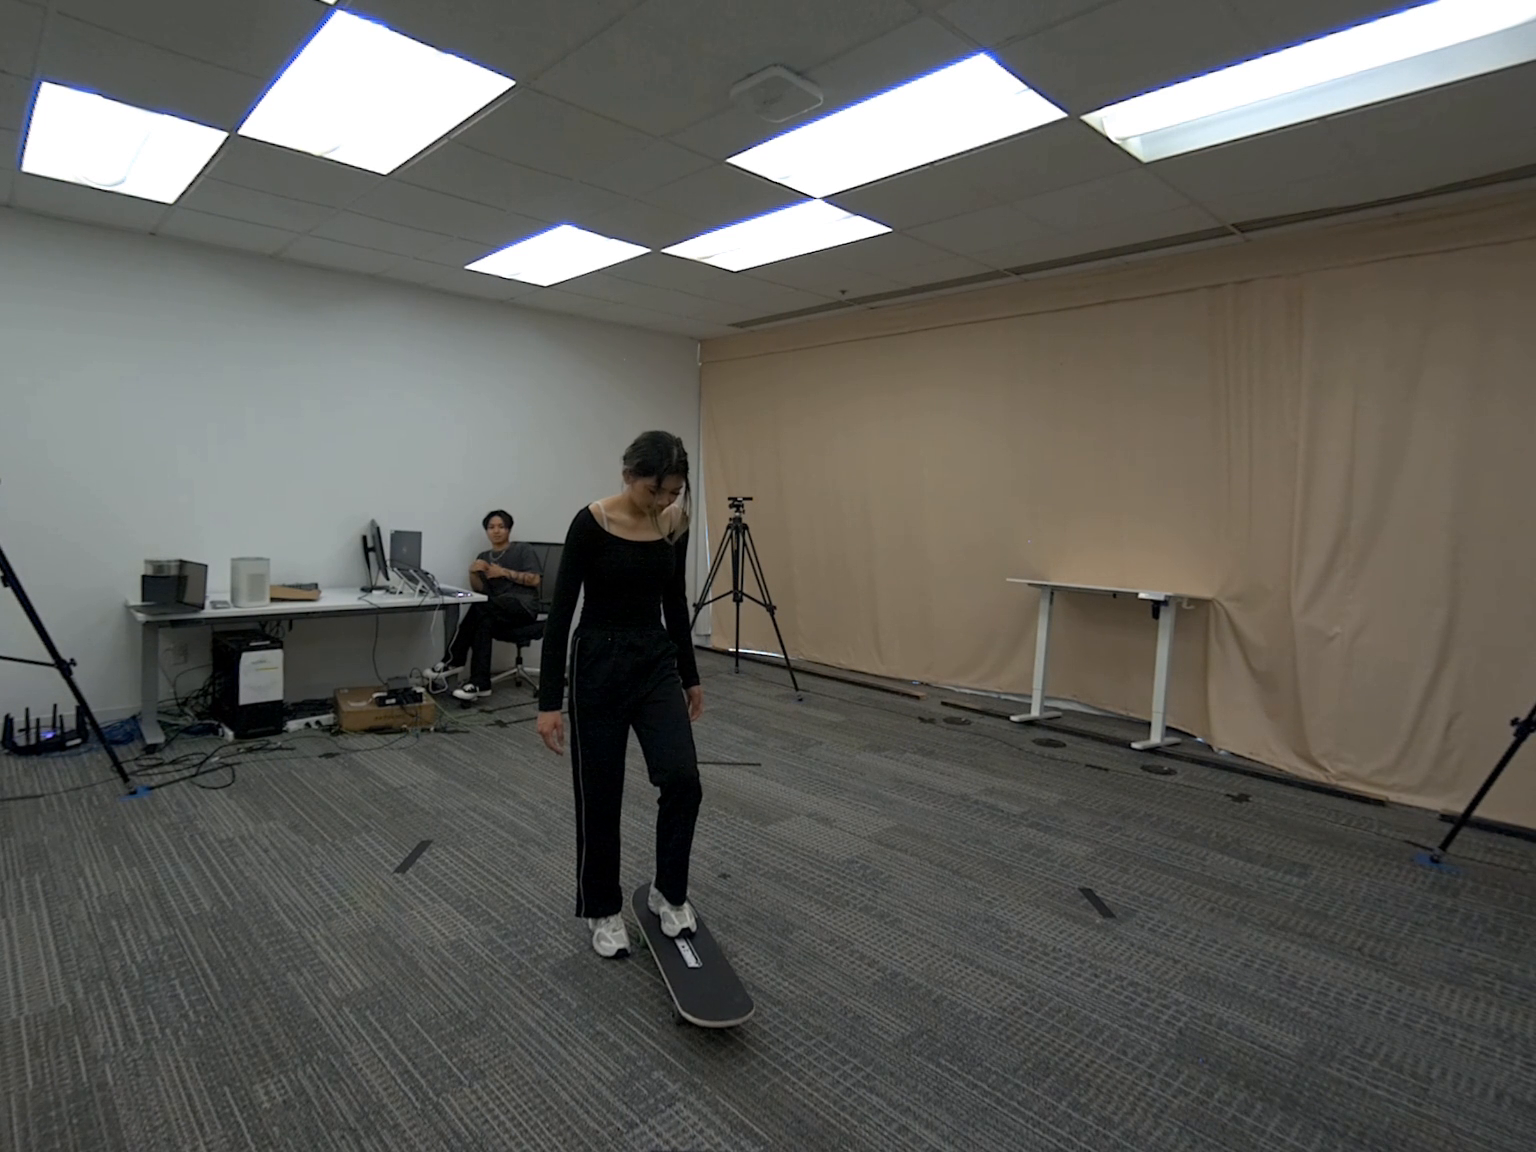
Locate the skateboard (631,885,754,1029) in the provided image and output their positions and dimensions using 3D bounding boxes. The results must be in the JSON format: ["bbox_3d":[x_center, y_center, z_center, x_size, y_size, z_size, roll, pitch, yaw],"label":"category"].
[{"bbox_3d":[-0.242,1.111,2.443,0.190,0.110,0.800,0,6,-22],"label":"skateboard"}]
